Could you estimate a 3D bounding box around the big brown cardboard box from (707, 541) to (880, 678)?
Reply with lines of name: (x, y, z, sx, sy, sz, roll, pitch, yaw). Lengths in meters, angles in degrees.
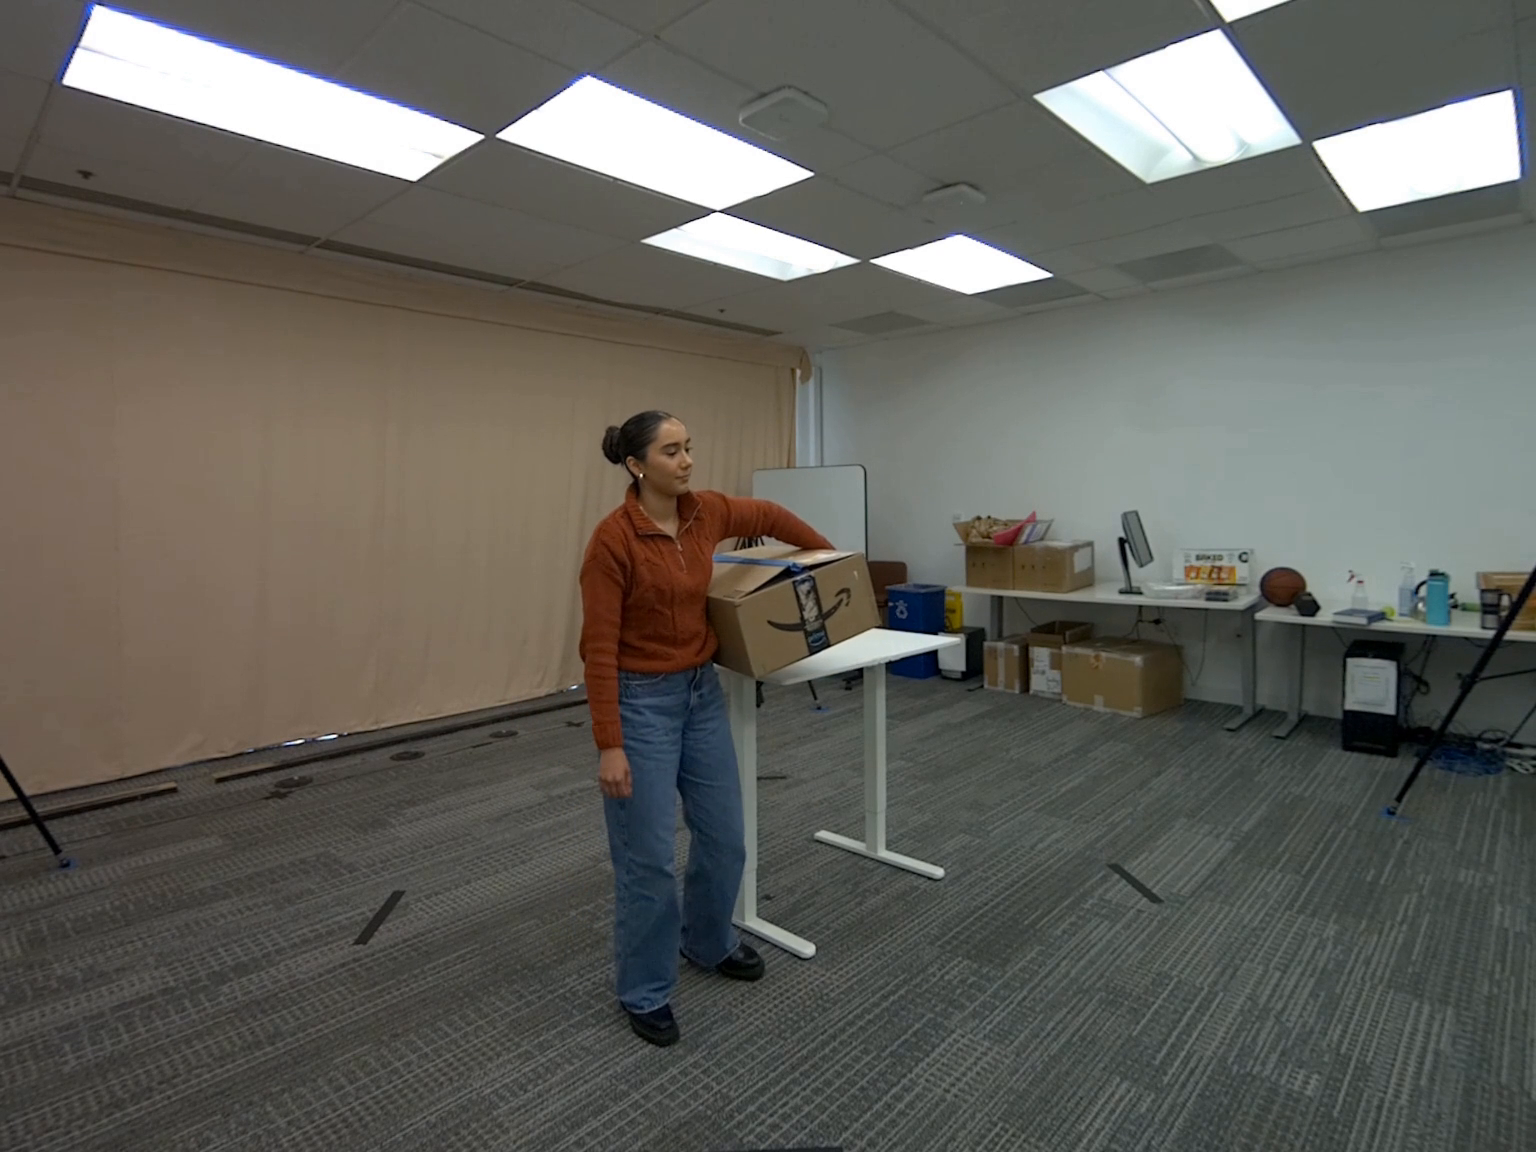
big brown cardboard box: (-0.016, 0.081, 2.481, 0.410, 0.231, 0.605, -20, 12, -25)
